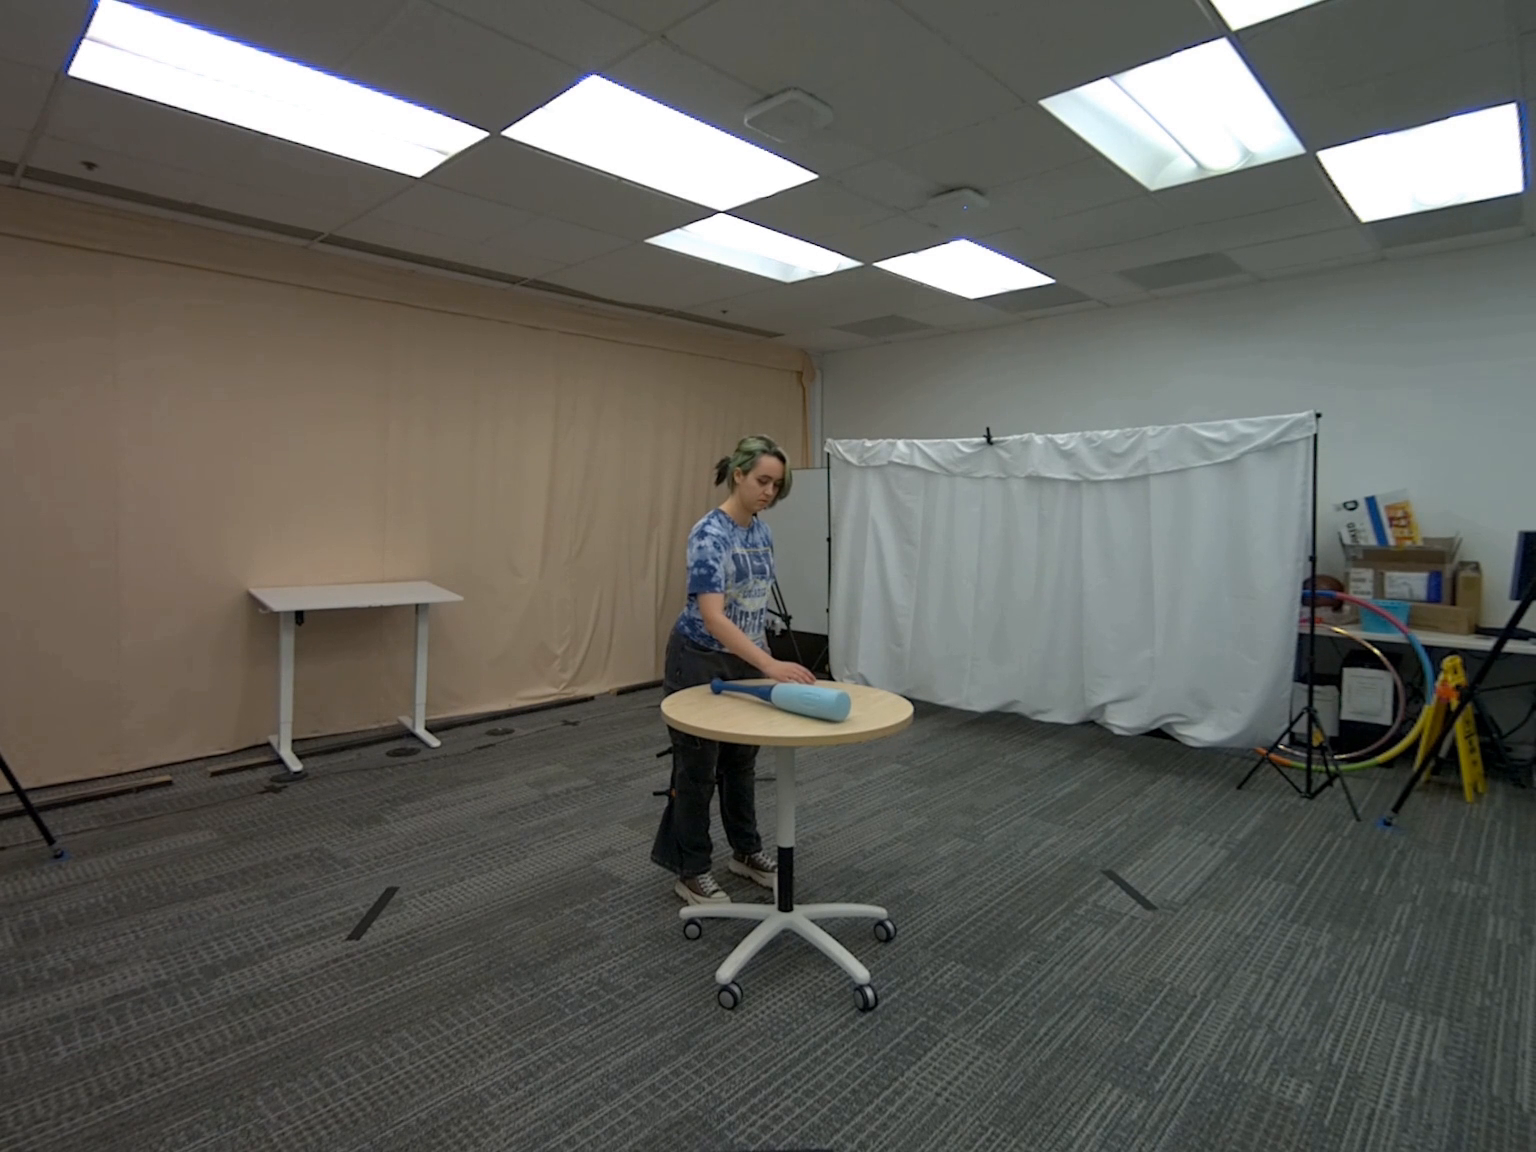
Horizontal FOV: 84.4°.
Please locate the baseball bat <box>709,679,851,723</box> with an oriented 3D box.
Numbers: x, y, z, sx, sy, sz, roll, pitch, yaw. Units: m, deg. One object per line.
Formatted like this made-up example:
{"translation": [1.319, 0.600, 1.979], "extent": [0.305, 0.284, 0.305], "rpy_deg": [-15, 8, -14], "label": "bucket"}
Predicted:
{"translation": [0.014, 0.362, 2.532], "extent": [0.086, 0.089, 0.560], "rpy_deg": [-3, 3, -44], "label": "baseball bat"}
